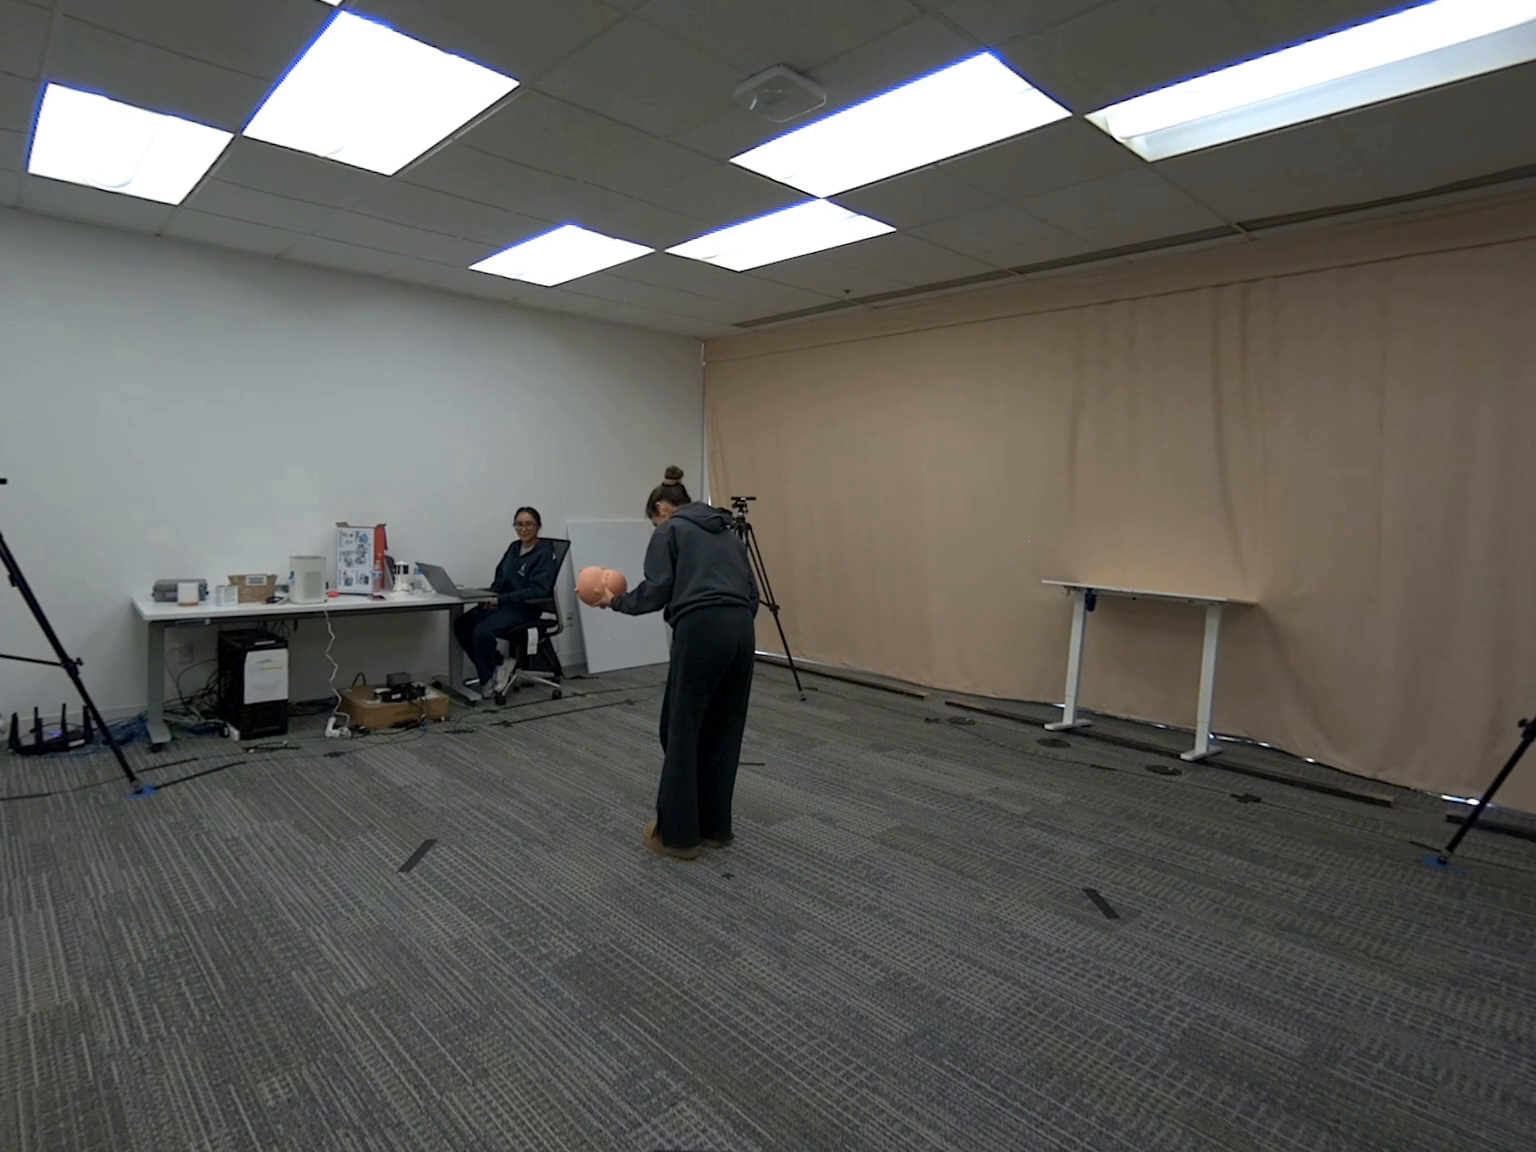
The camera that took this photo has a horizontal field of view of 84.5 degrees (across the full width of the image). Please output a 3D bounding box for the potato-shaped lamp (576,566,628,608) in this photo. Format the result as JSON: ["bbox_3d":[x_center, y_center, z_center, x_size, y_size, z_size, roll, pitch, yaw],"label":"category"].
[{"bbox_3d":[-0.695,0.041,3.525,0.201,0.167,0.166,-6,-37,19],"label":"potato-shaped lamp"}]
